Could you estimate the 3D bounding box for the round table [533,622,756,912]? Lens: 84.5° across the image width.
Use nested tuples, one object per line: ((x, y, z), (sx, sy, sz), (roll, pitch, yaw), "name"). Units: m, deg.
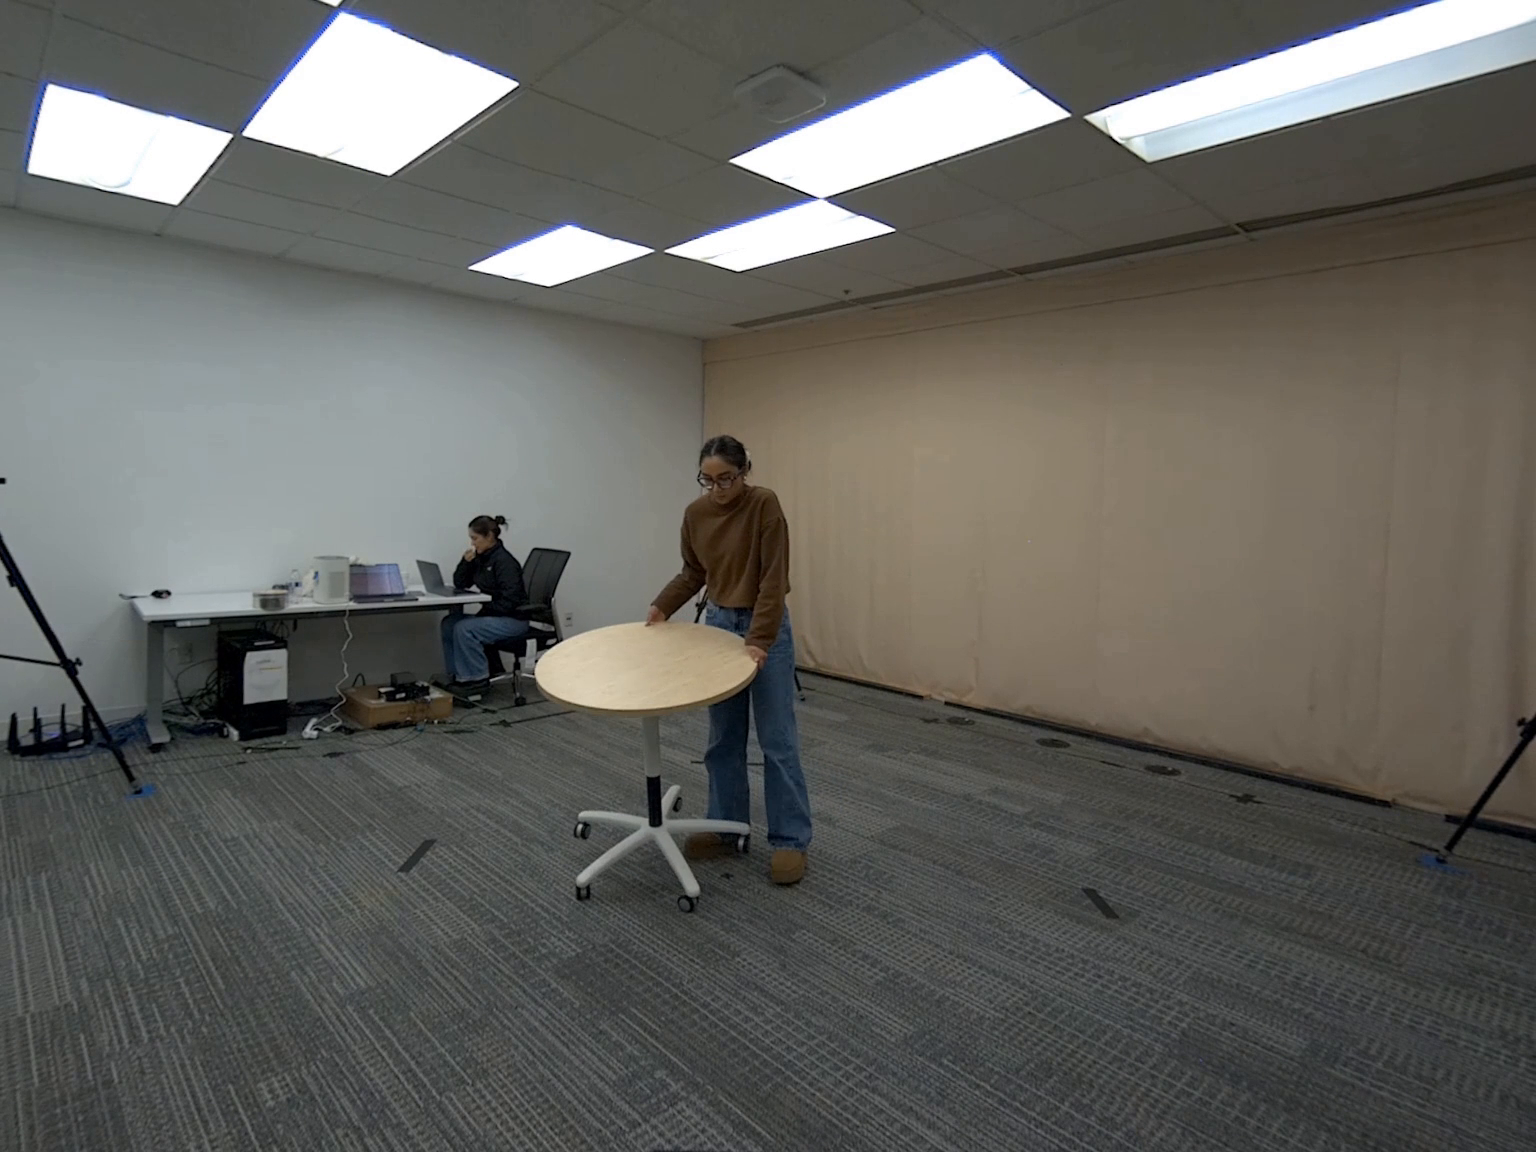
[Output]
((-0.428, 0.672, 3.020), (0.764, 0.785, 0.773), (-2, 16, -1), "round table")
